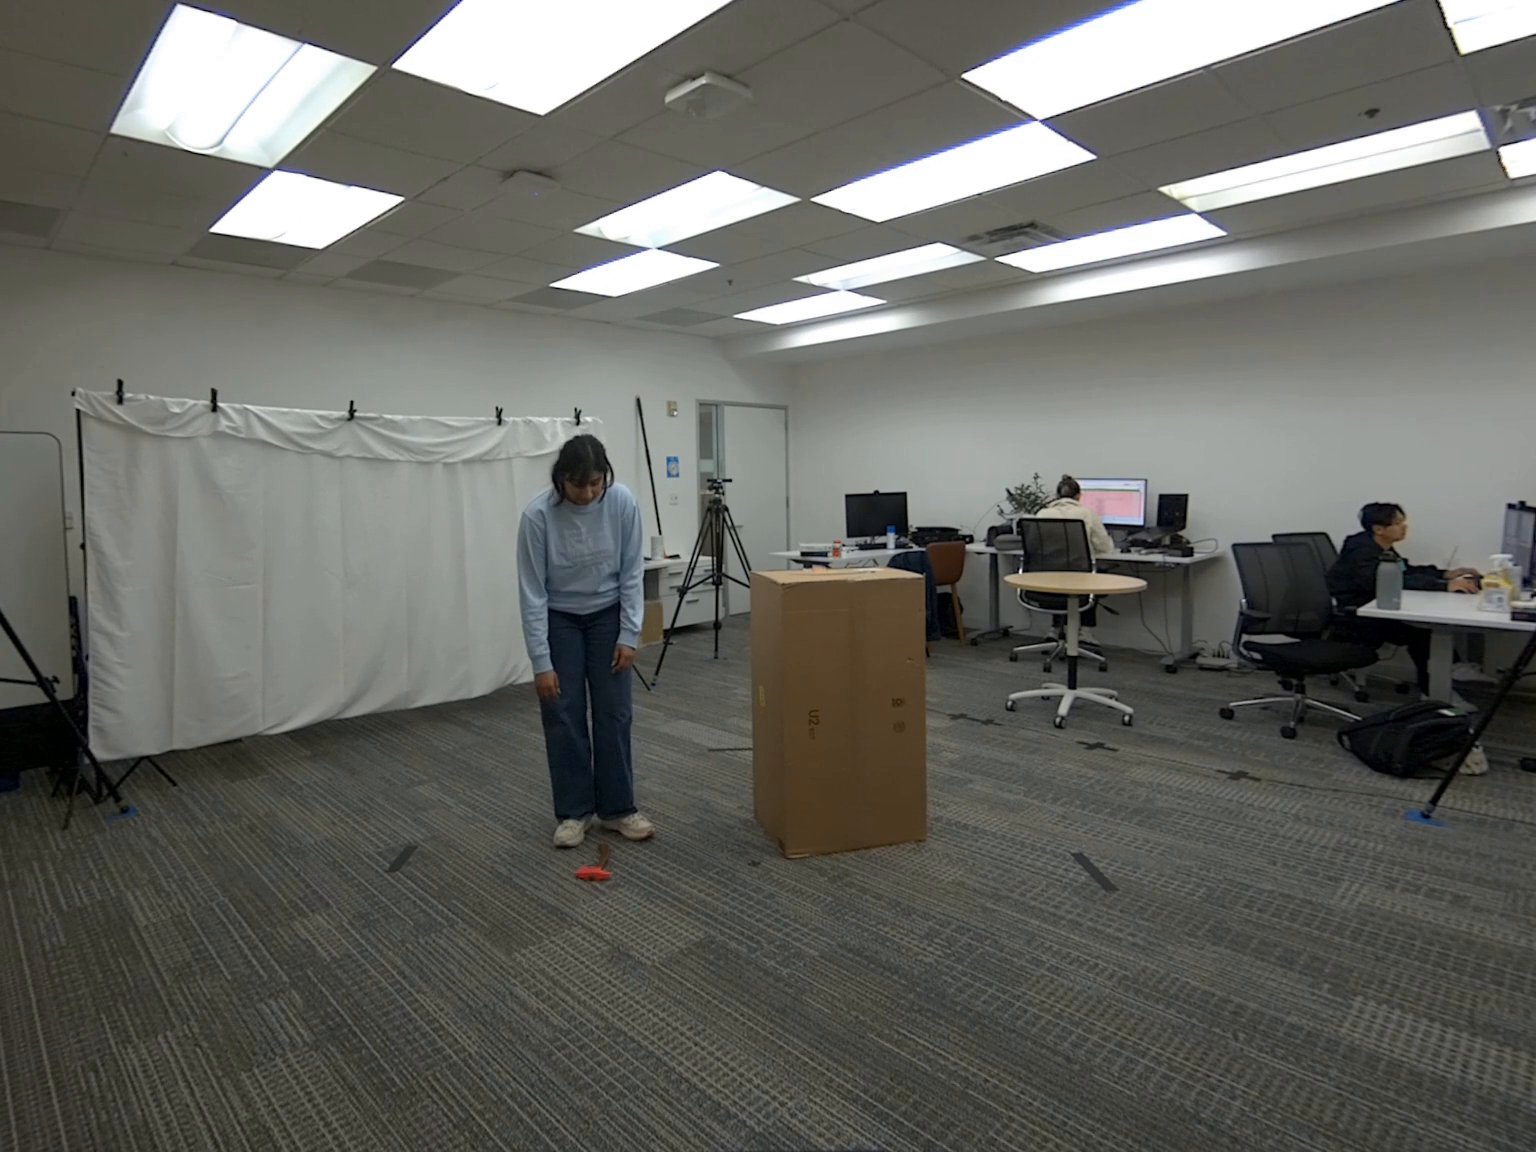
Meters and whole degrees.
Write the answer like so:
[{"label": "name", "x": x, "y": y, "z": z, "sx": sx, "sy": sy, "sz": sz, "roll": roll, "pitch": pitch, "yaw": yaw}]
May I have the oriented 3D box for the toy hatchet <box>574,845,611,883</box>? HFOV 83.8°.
[{"label": "toy hatchet", "x": -0.645, "y": 1.048, "z": 3.116, "sx": 0.129, "sy": 0.029, "sz": 0.274, "roll": -4, "pitch": 4, "yaw": -13}]
